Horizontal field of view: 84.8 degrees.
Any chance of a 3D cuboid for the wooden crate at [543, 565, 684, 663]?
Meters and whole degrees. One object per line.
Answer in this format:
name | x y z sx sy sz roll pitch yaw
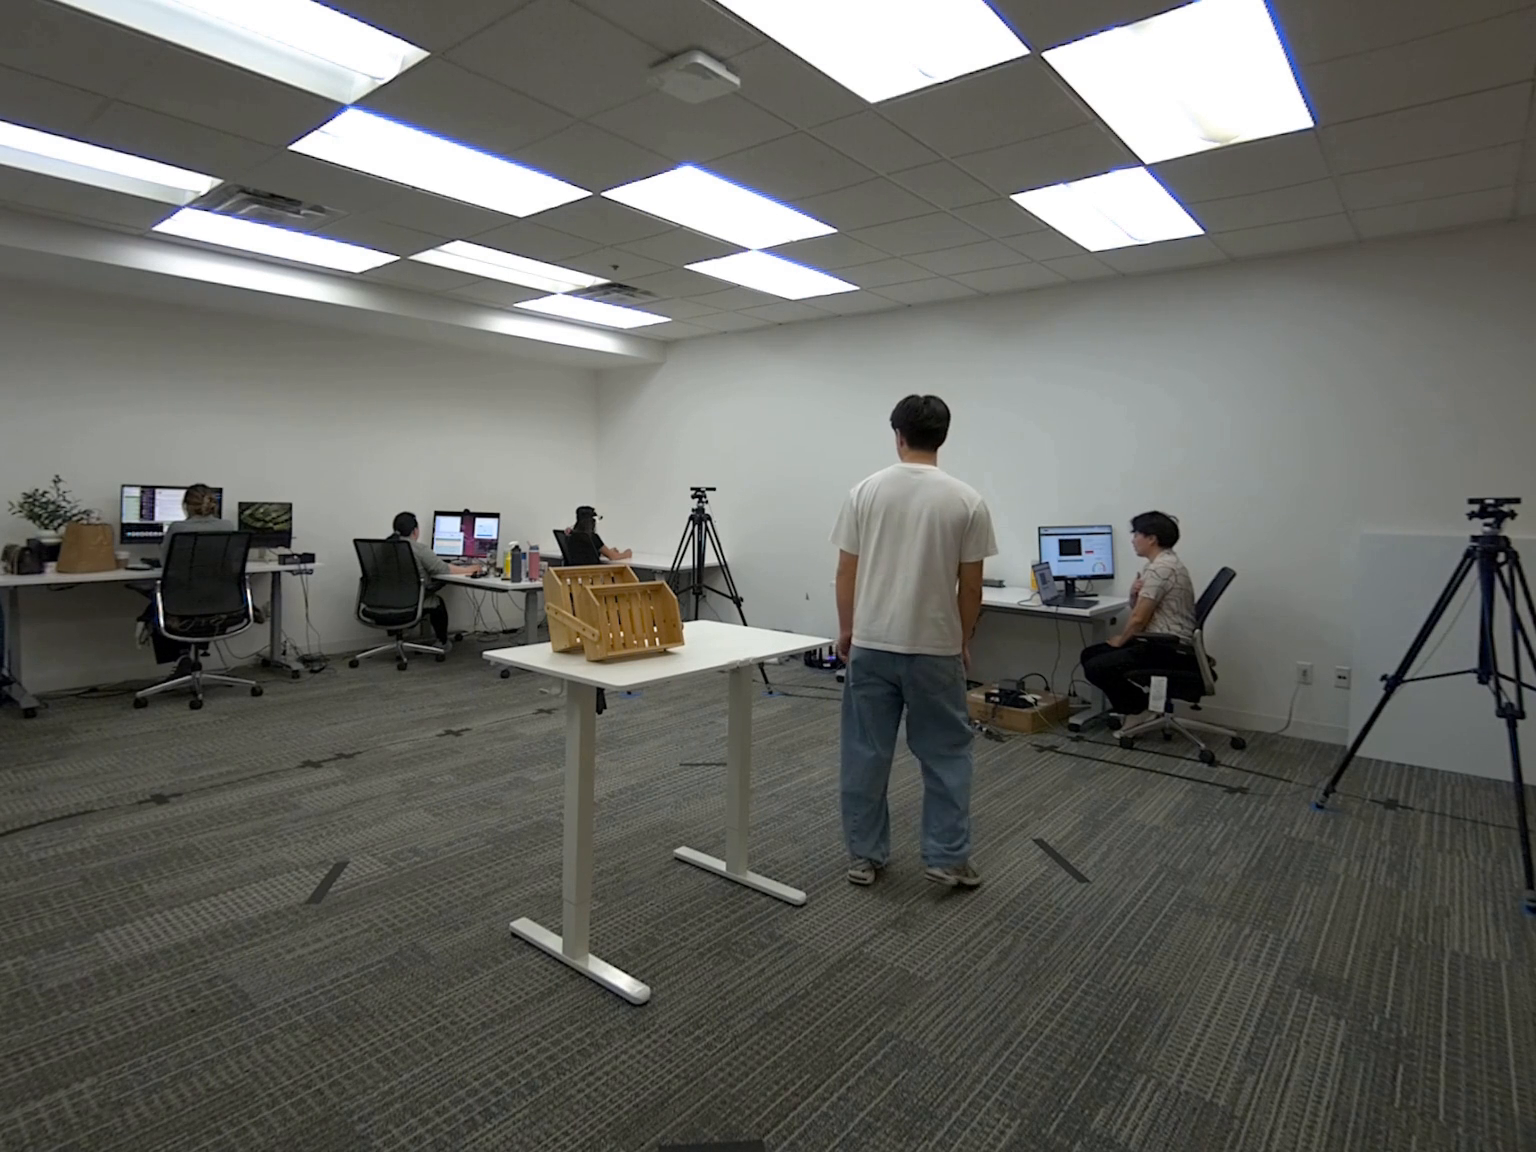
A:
wooden crate | -0.478 0.098 2.591 0.279 0.305 0.314 -17 -10 43
